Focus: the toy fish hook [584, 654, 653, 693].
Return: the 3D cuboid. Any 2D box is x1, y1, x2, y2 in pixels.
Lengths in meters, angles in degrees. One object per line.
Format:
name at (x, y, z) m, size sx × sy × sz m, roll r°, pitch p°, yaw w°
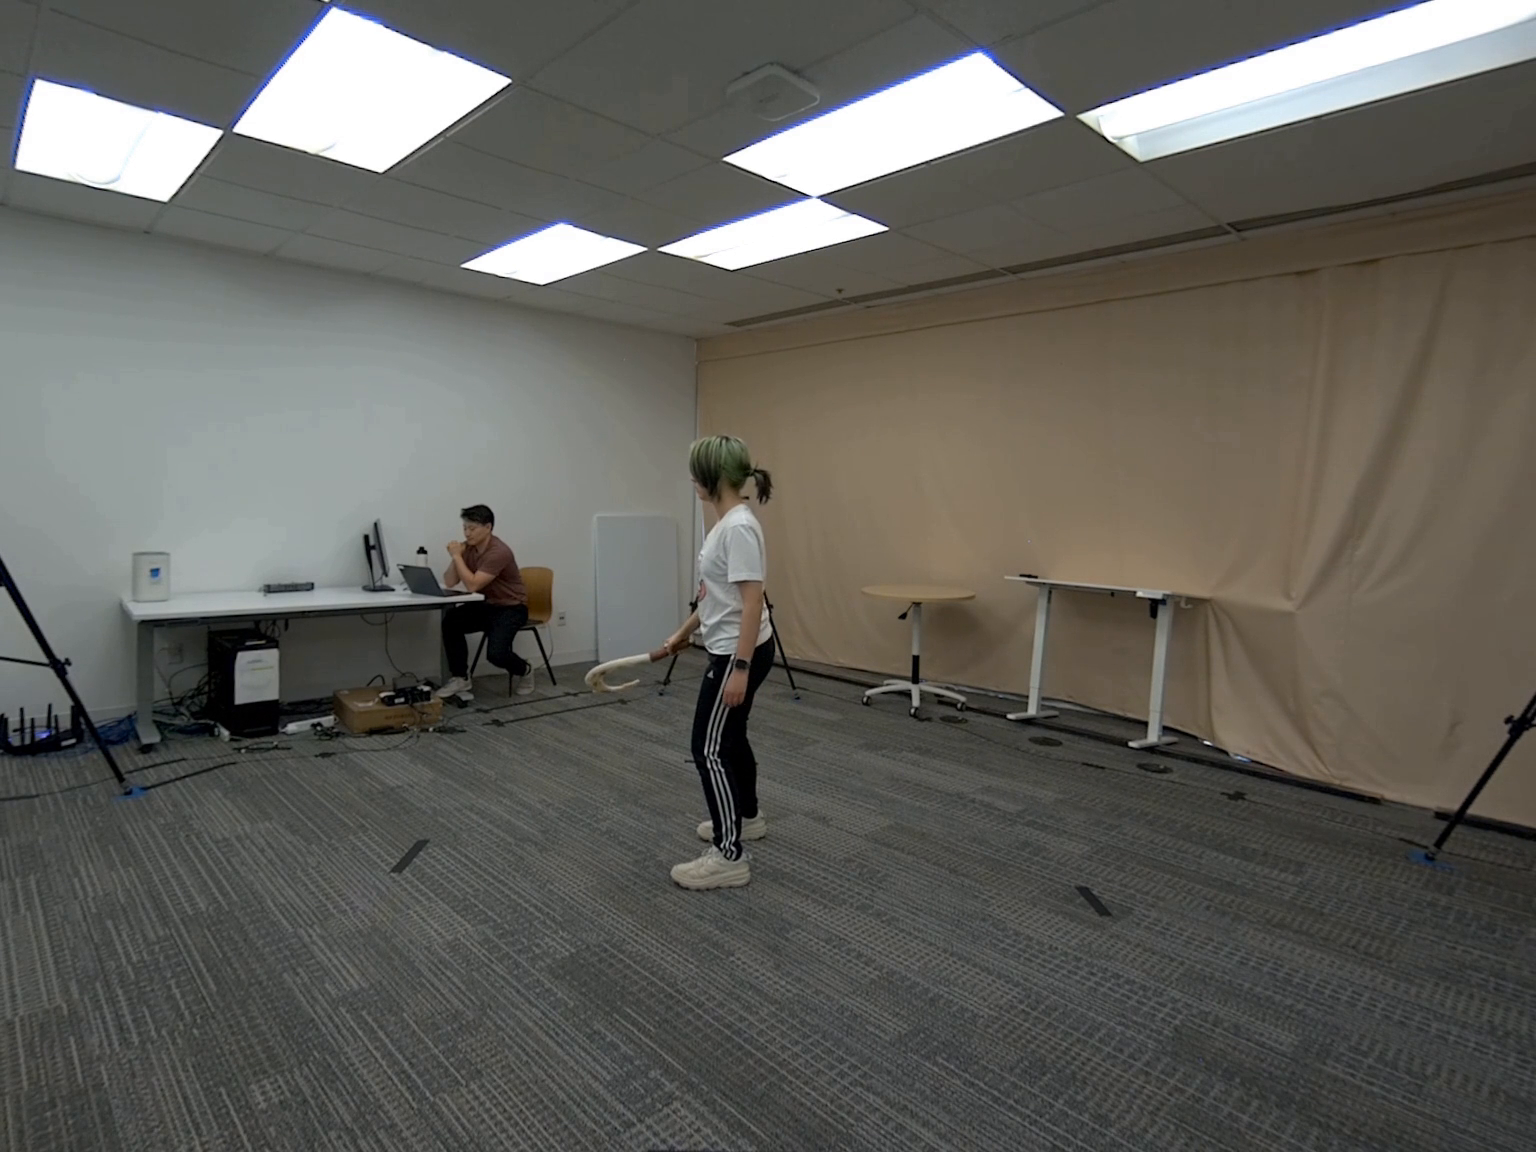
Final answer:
toy fish hook at (-0.543, 0.366, 3.548) m, size 0.507 × 0.049 × 0.218 m, roll -19°, pitch -35°, yaw 4°
